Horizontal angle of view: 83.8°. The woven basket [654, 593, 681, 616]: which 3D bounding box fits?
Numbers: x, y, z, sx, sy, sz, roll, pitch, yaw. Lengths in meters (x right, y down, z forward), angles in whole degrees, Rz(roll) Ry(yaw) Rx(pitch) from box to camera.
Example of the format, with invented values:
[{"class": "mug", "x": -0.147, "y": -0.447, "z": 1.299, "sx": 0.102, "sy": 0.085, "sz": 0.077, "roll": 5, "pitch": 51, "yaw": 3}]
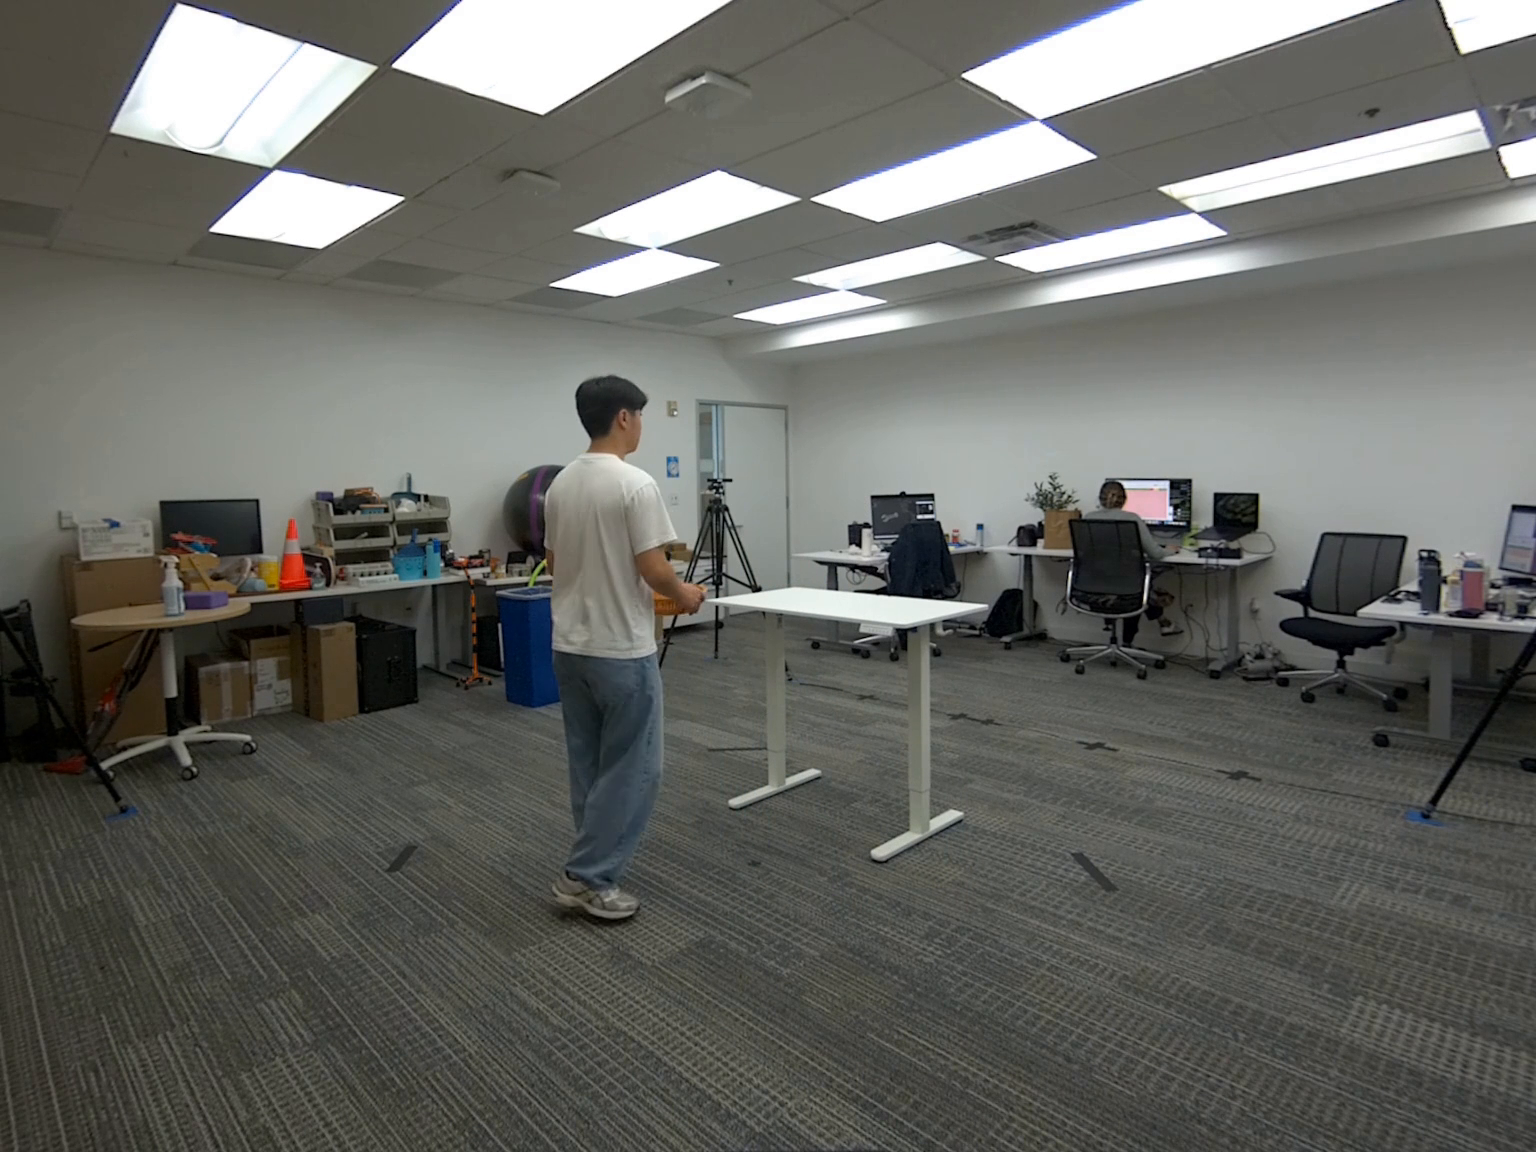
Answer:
[{"class": "woven basket", "x": -0.368, "y": 0.087, "z": 3.040, "sx": 0.361, "sy": 0.073, "sz": 0.246, "roll": 3, "pitch": 10, "yaw": 41}]
